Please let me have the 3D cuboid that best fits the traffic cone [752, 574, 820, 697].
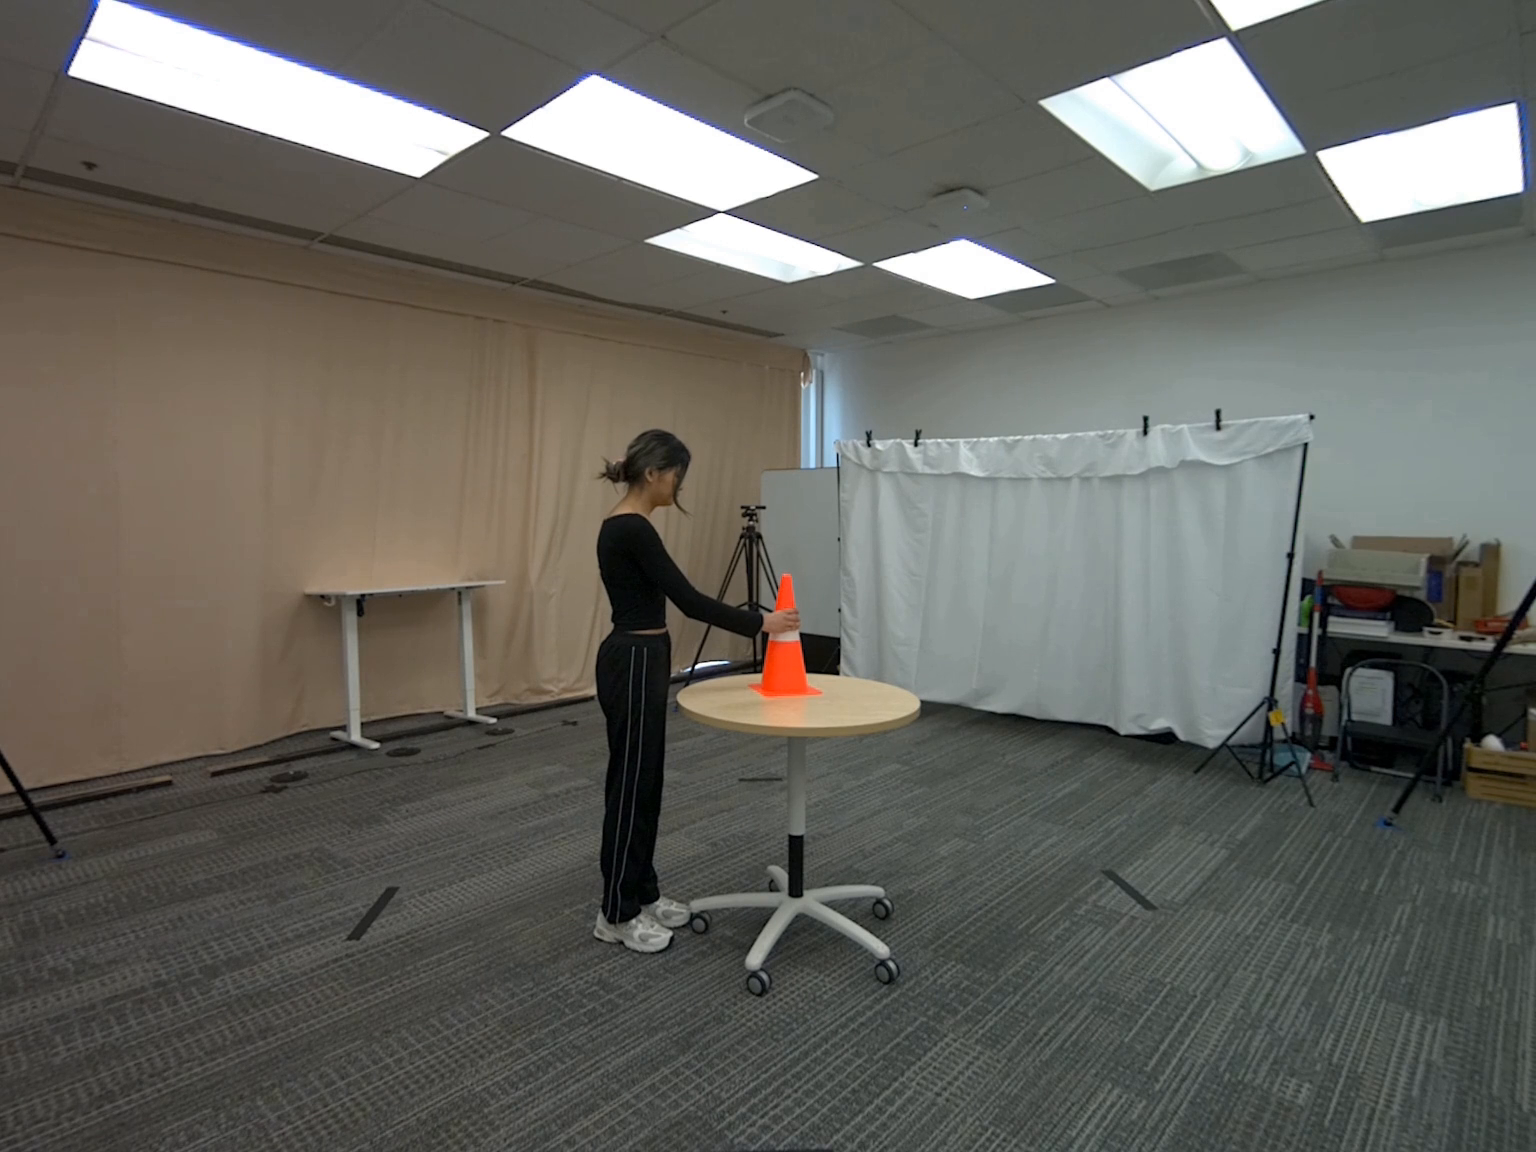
[{"bbox_3d":[0.058,0.189,2.769,0.200,0.383,0.209,-1,4,-16],"label":"traffic cone"}]
